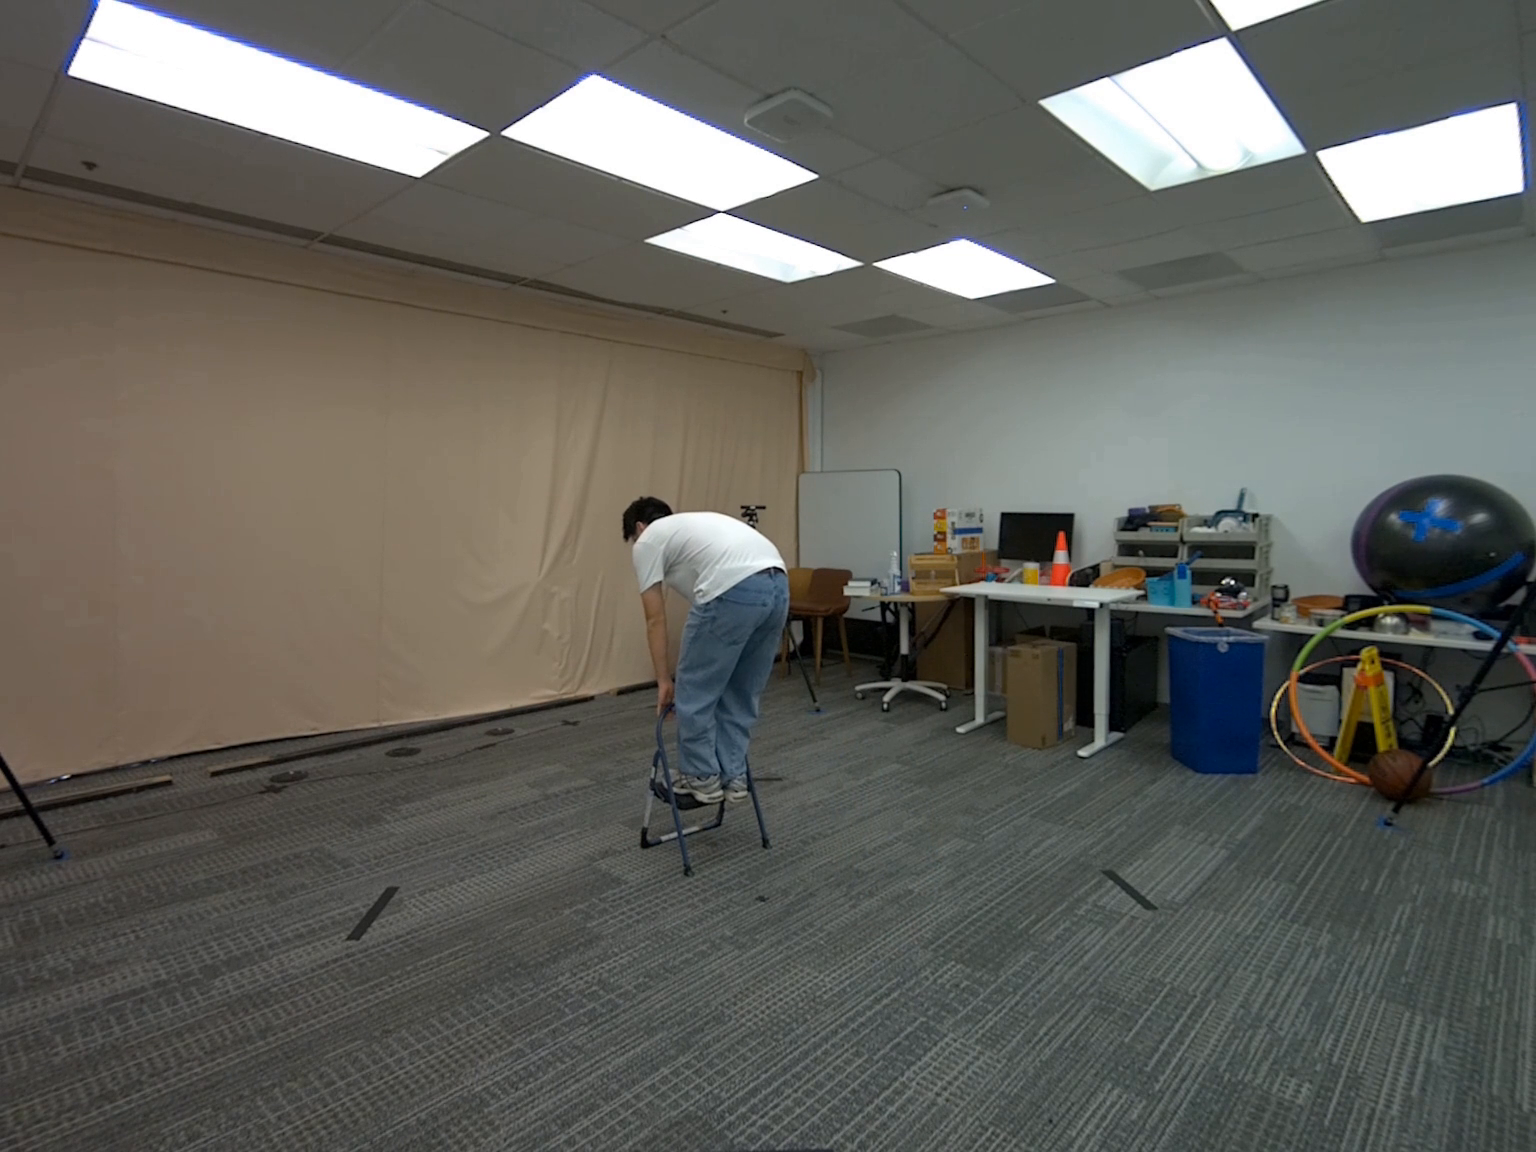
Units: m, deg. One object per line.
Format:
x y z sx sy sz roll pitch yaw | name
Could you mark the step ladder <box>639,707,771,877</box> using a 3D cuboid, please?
-0.257 0.807 3.421 0.417 0.605 0.361 -3 4 -41 | step ladder
